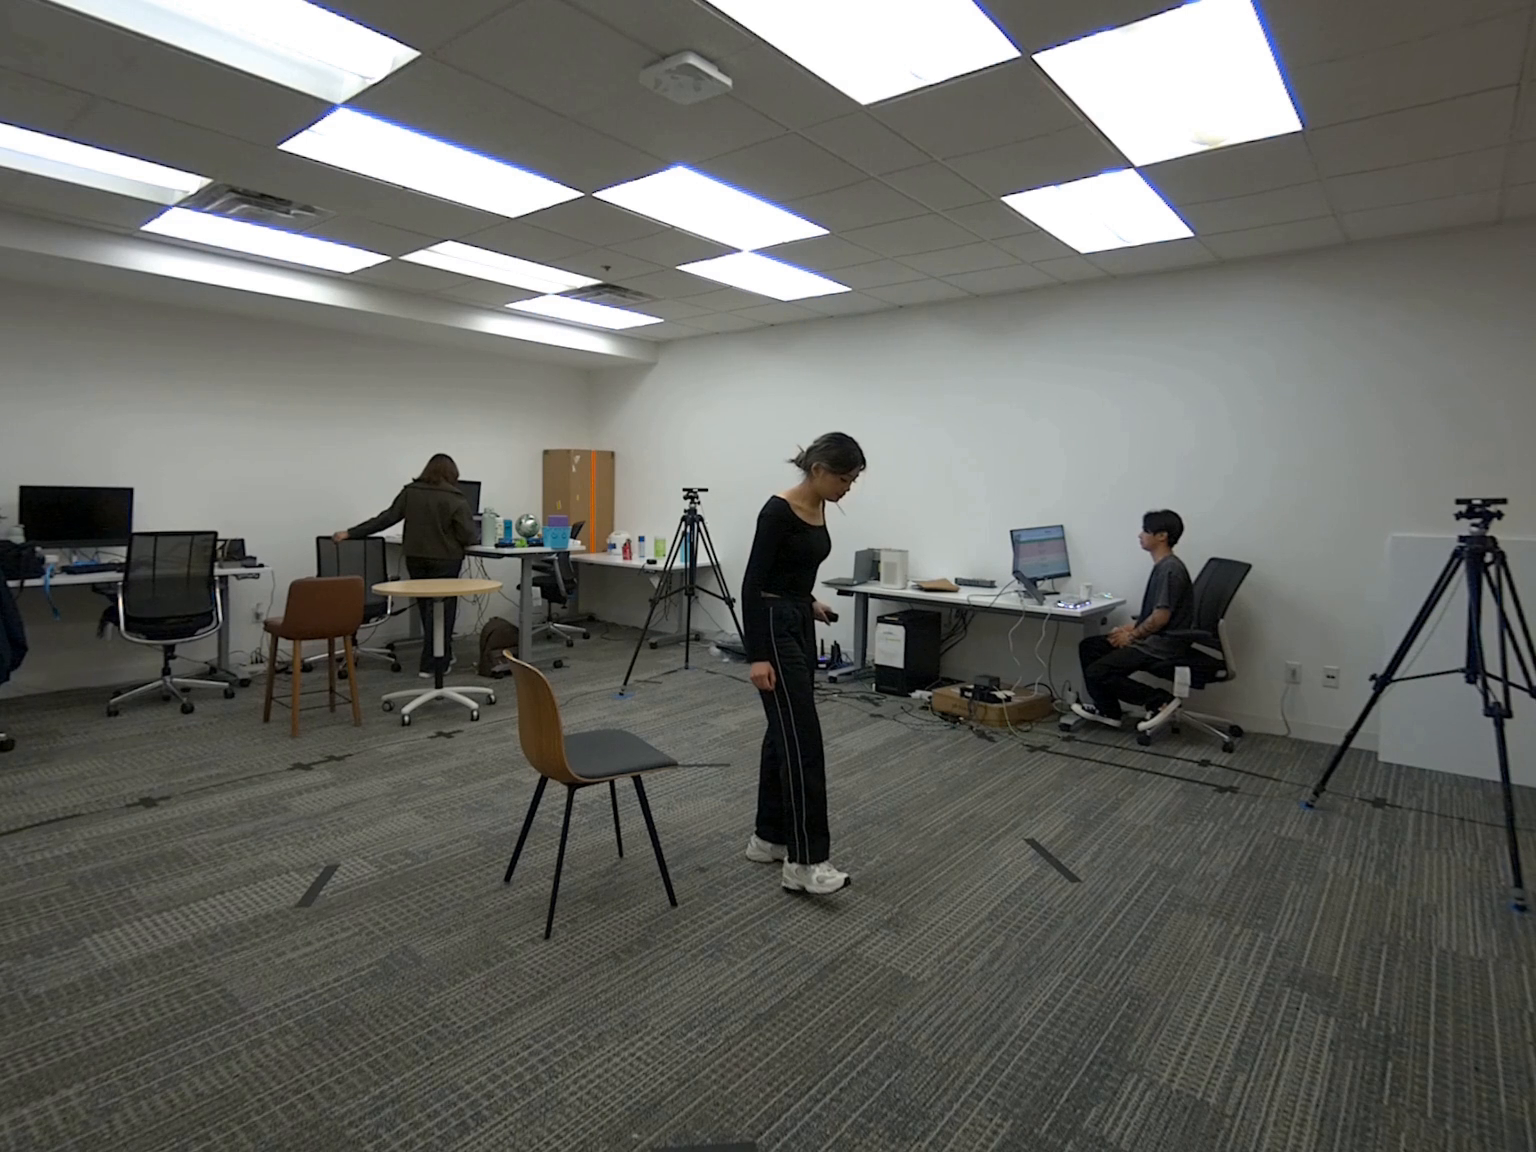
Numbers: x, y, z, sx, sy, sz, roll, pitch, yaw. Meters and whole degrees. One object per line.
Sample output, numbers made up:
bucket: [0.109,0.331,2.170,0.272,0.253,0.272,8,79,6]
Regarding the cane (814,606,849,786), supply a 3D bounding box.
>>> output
cane: [0.142,0.577,3.420,0.213,0.904,0.147,9,5,30]
